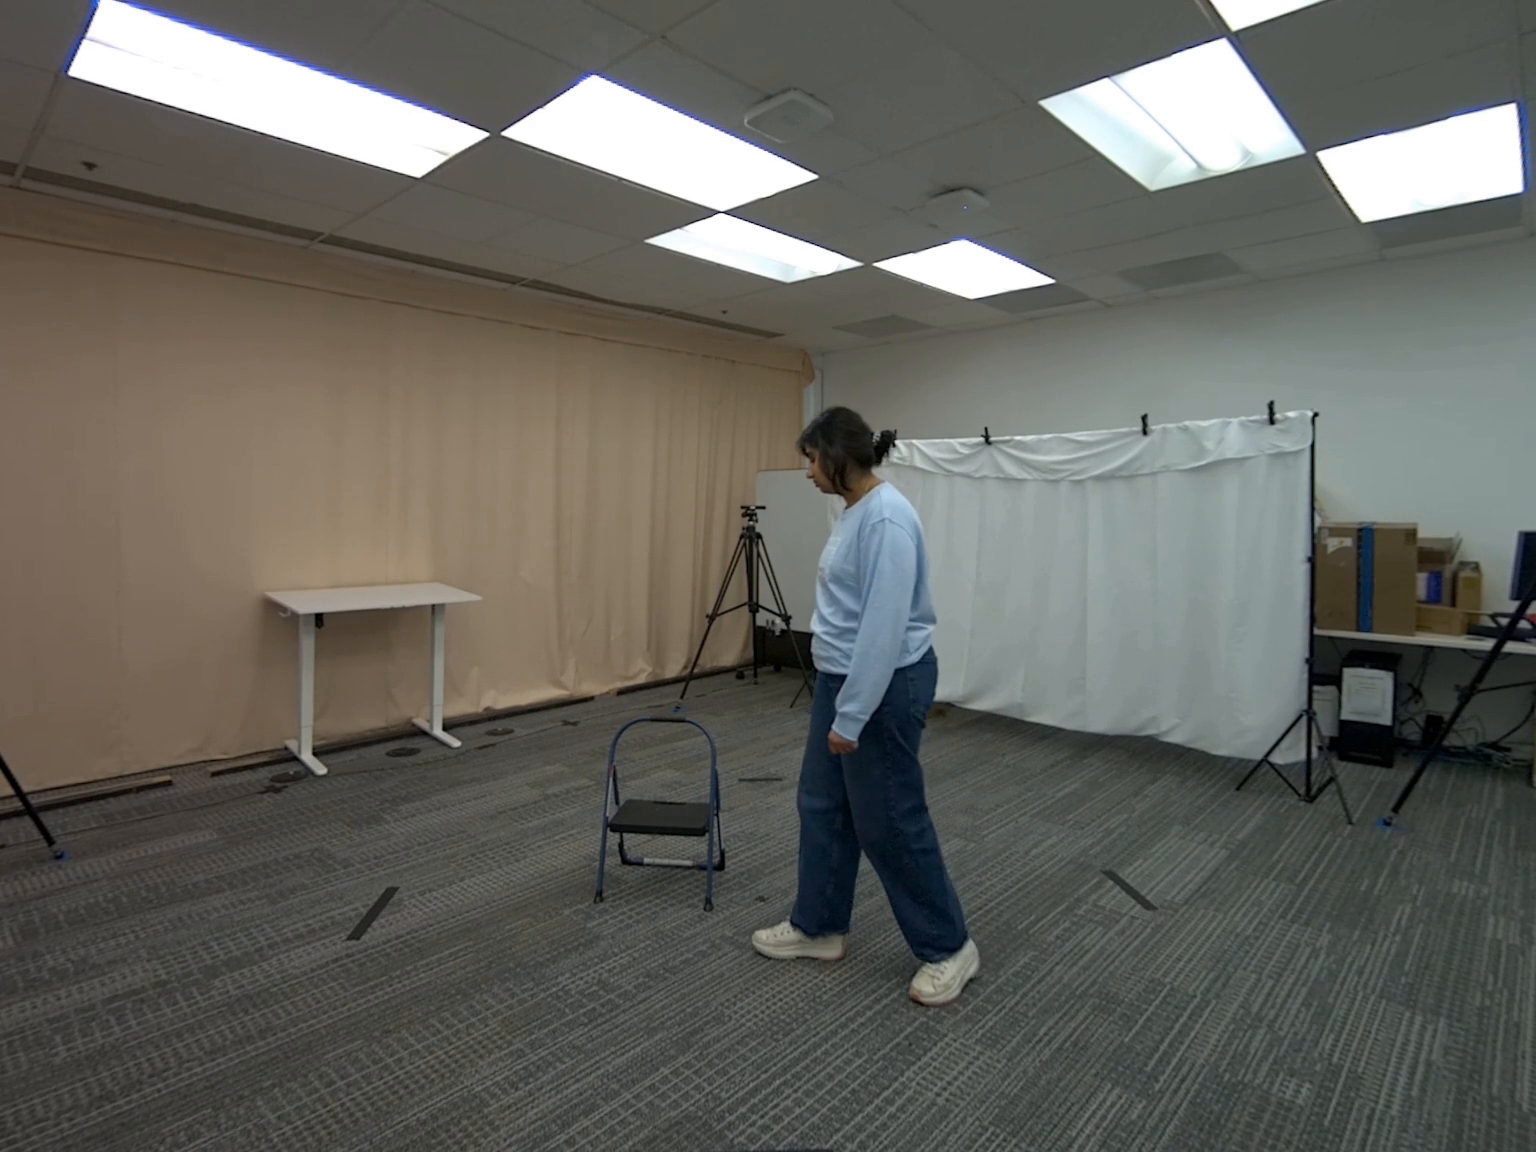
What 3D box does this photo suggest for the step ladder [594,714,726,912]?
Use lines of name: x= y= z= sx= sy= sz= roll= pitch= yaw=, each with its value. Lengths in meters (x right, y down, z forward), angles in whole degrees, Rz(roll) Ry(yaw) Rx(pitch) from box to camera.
step ladder: x=-0.388 y=0.835 z=3.089 sx=0.435 sy=0.605 sz=0.347 roll=0 pitch=4 yaw=8
